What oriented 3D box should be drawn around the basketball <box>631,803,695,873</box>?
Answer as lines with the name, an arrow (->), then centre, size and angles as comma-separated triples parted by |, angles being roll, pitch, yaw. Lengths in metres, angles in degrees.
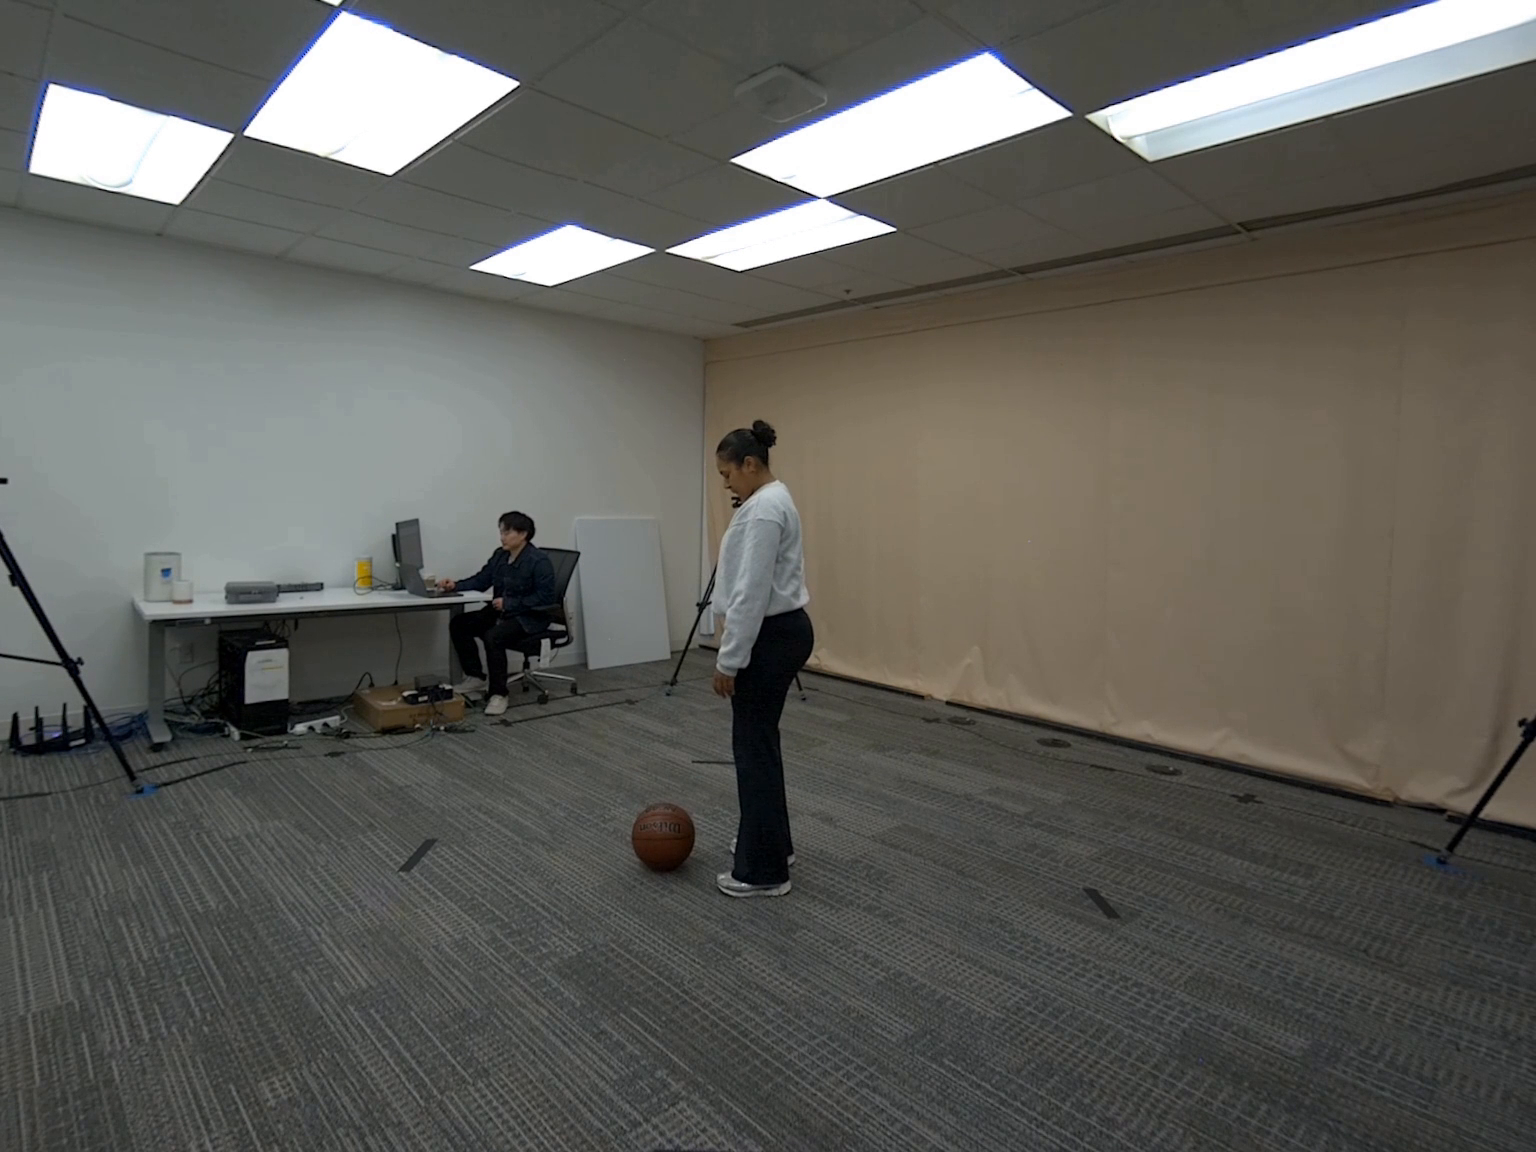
basketball -> -0.397, 0.972, 3.160 | 0.236, 0.235, 0.237 | 1, 4, -1
